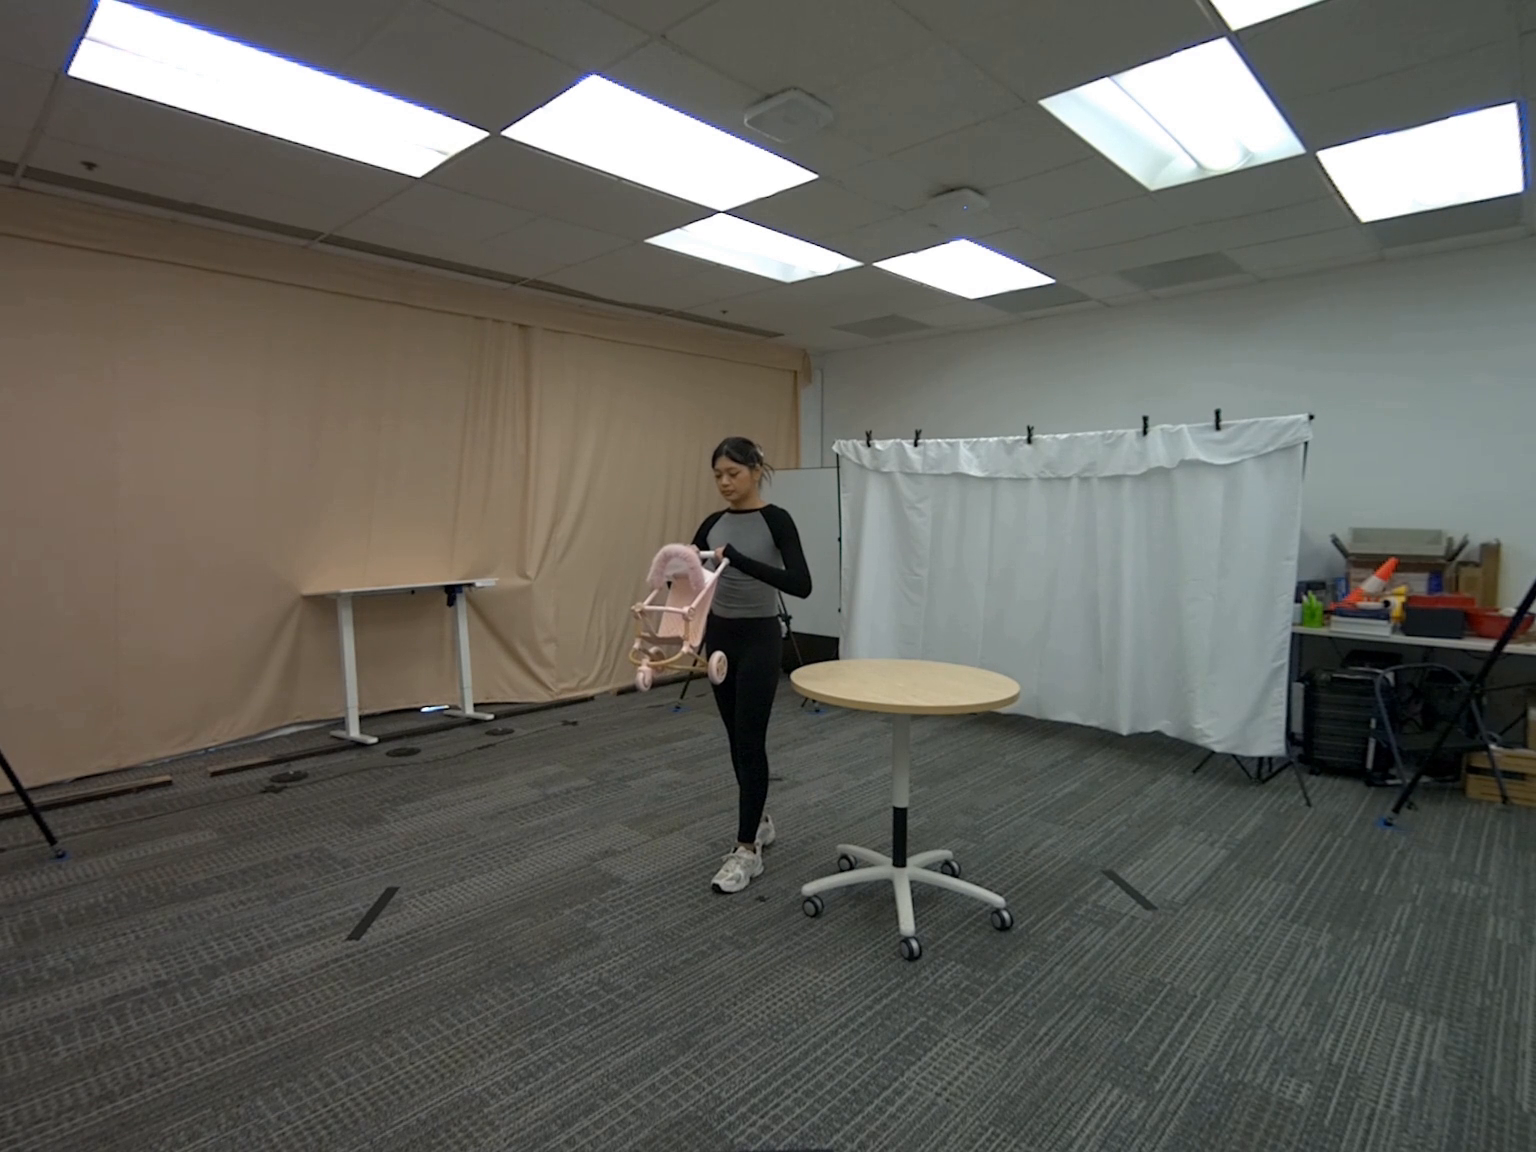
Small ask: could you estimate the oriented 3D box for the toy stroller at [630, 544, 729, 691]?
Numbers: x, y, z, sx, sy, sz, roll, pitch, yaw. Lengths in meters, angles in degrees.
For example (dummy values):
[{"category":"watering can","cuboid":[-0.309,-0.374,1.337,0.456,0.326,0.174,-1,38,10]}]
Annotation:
[{"category":"toy stroller","cuboid":[-0.304,0.133,2.817,0.289,0.538,0.329,-3,-15,31]}]
